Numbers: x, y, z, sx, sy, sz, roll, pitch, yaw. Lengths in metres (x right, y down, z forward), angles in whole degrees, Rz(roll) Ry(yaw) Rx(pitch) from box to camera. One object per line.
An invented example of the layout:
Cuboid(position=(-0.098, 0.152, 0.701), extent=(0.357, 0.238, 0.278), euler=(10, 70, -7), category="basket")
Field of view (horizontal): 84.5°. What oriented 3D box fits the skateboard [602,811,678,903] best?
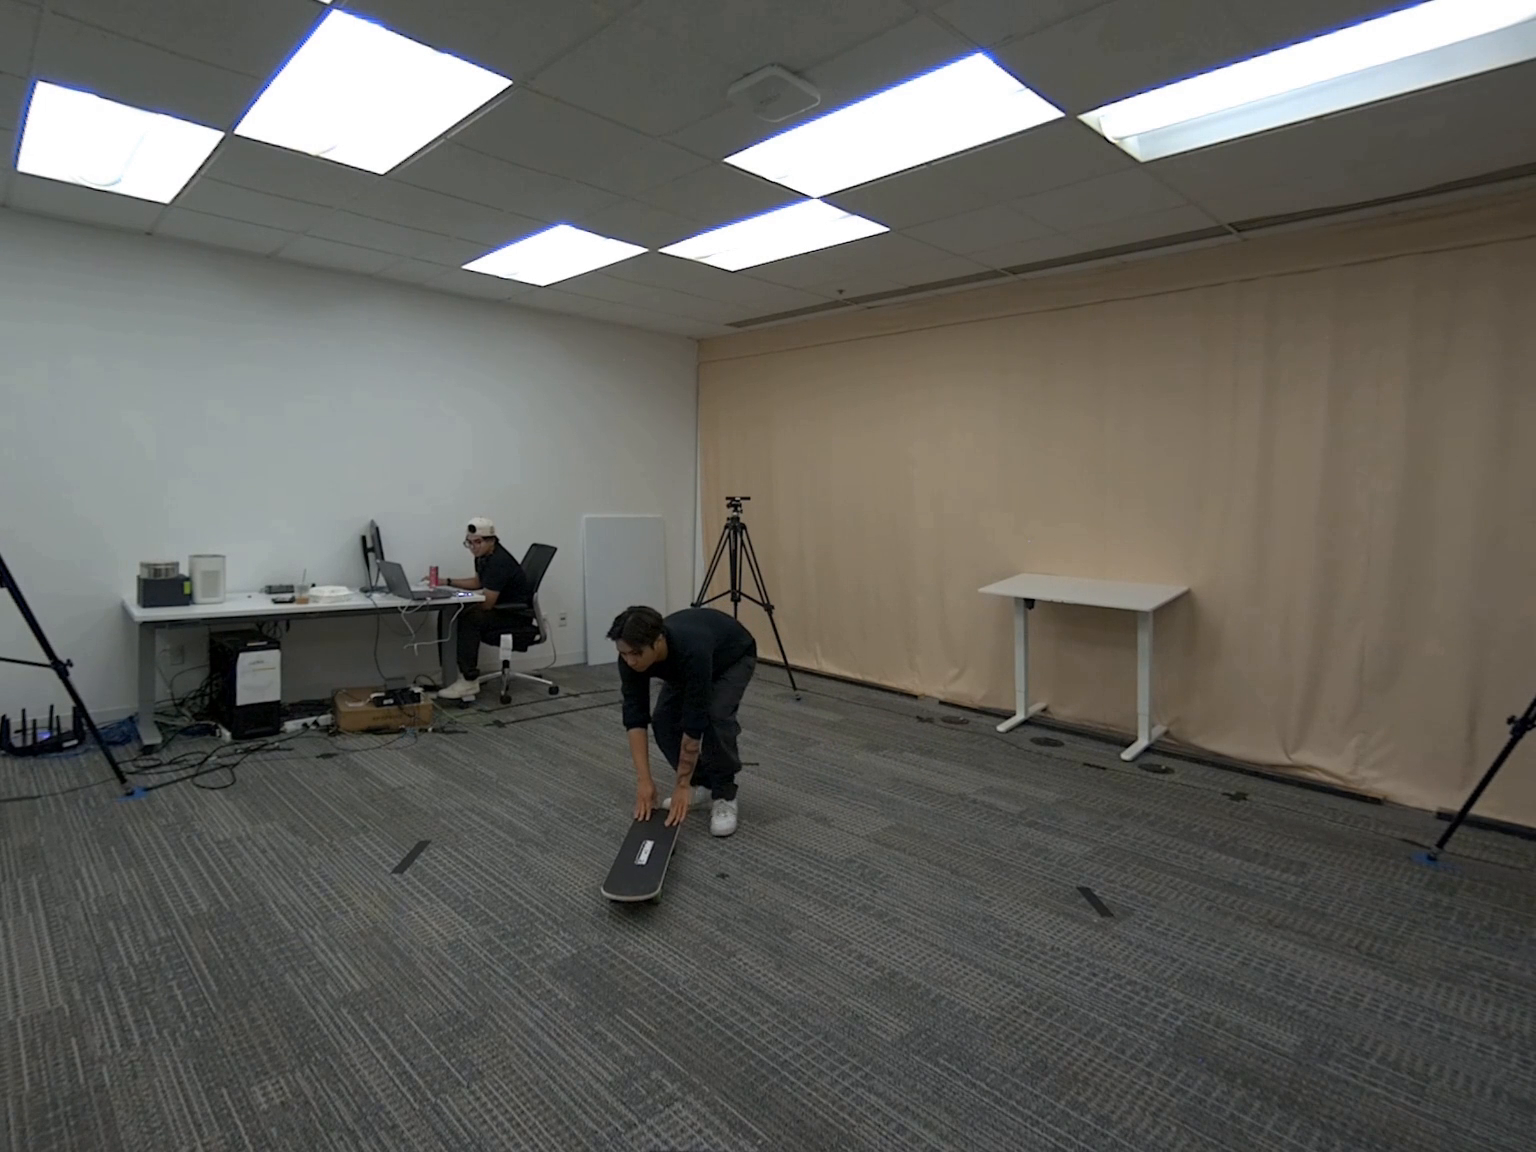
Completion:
Cuboid(position=(-0.464, 1.049, 3.082), extent=(0.194, 0.110, 0.786), euler=(1, 5, 1), category="skateboard")
